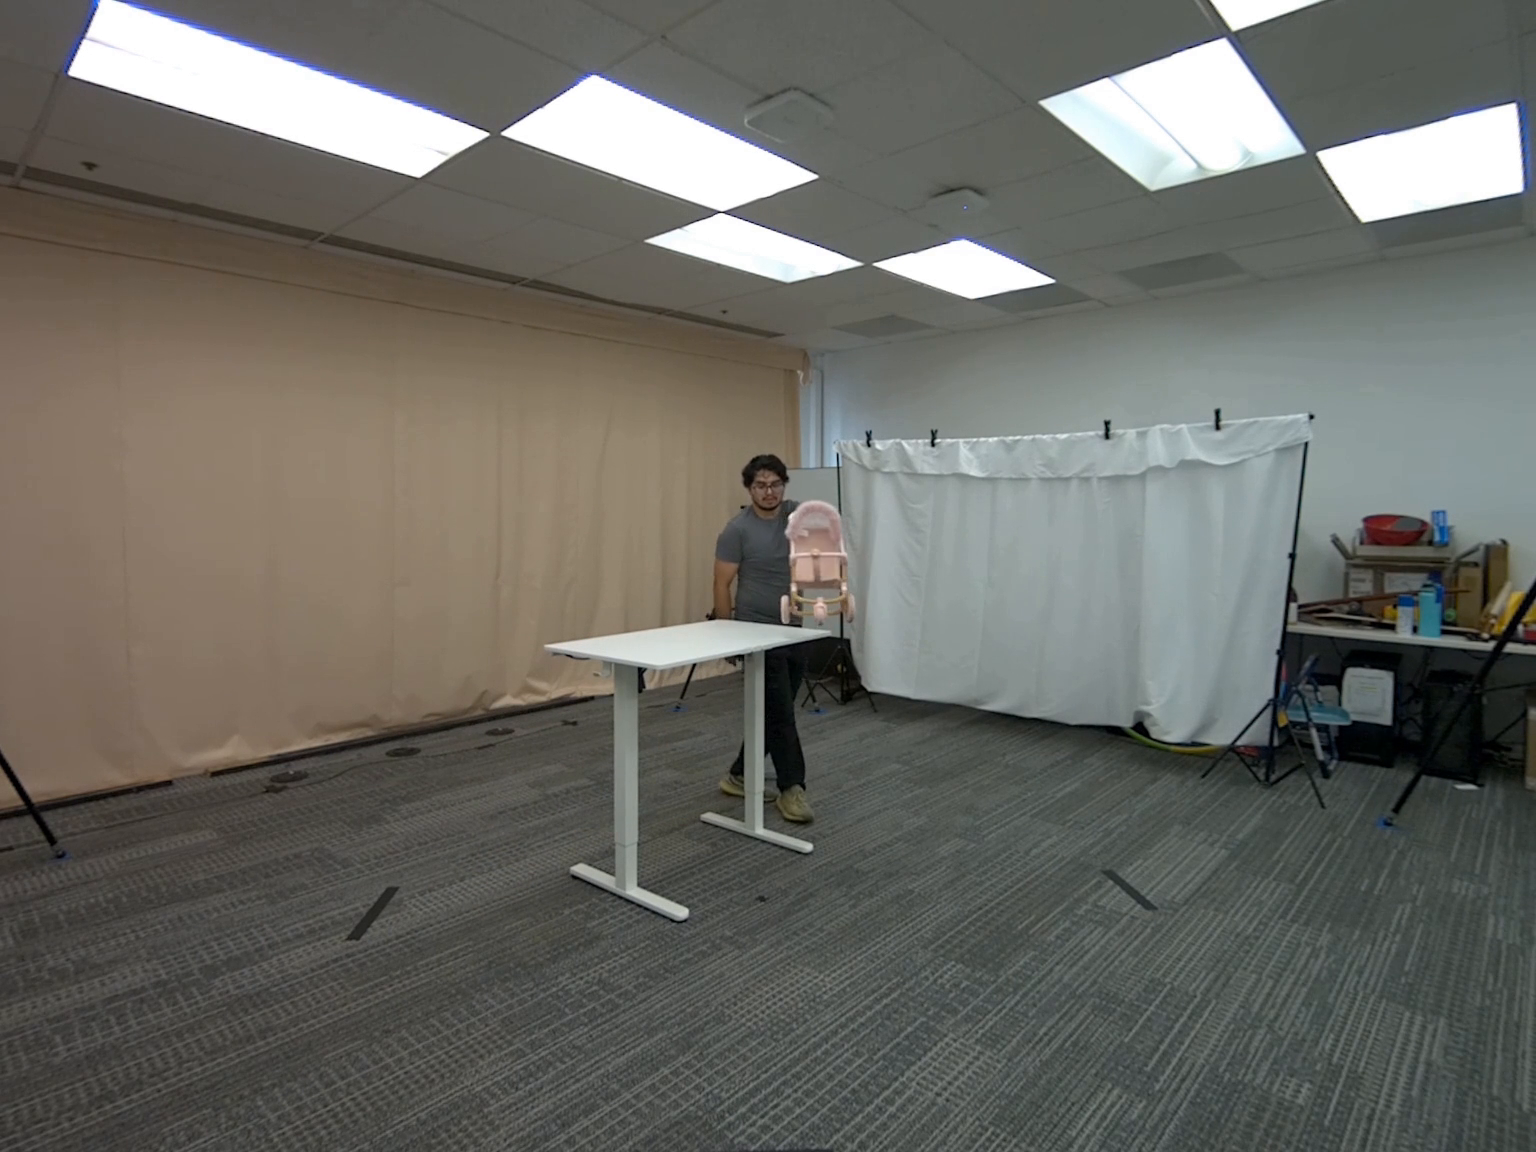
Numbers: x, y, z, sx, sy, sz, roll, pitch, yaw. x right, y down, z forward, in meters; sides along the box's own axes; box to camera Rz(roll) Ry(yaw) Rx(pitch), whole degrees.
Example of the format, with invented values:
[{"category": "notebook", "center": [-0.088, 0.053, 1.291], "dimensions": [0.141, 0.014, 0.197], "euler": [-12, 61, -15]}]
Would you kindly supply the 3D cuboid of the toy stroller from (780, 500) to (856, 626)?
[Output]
[{"category": "toy stroller", "center": [0.186, -0.042, 3.217], "dimensions": [0.283, 0.540, 0.336], "euler": [-2, -16, 5]}]
